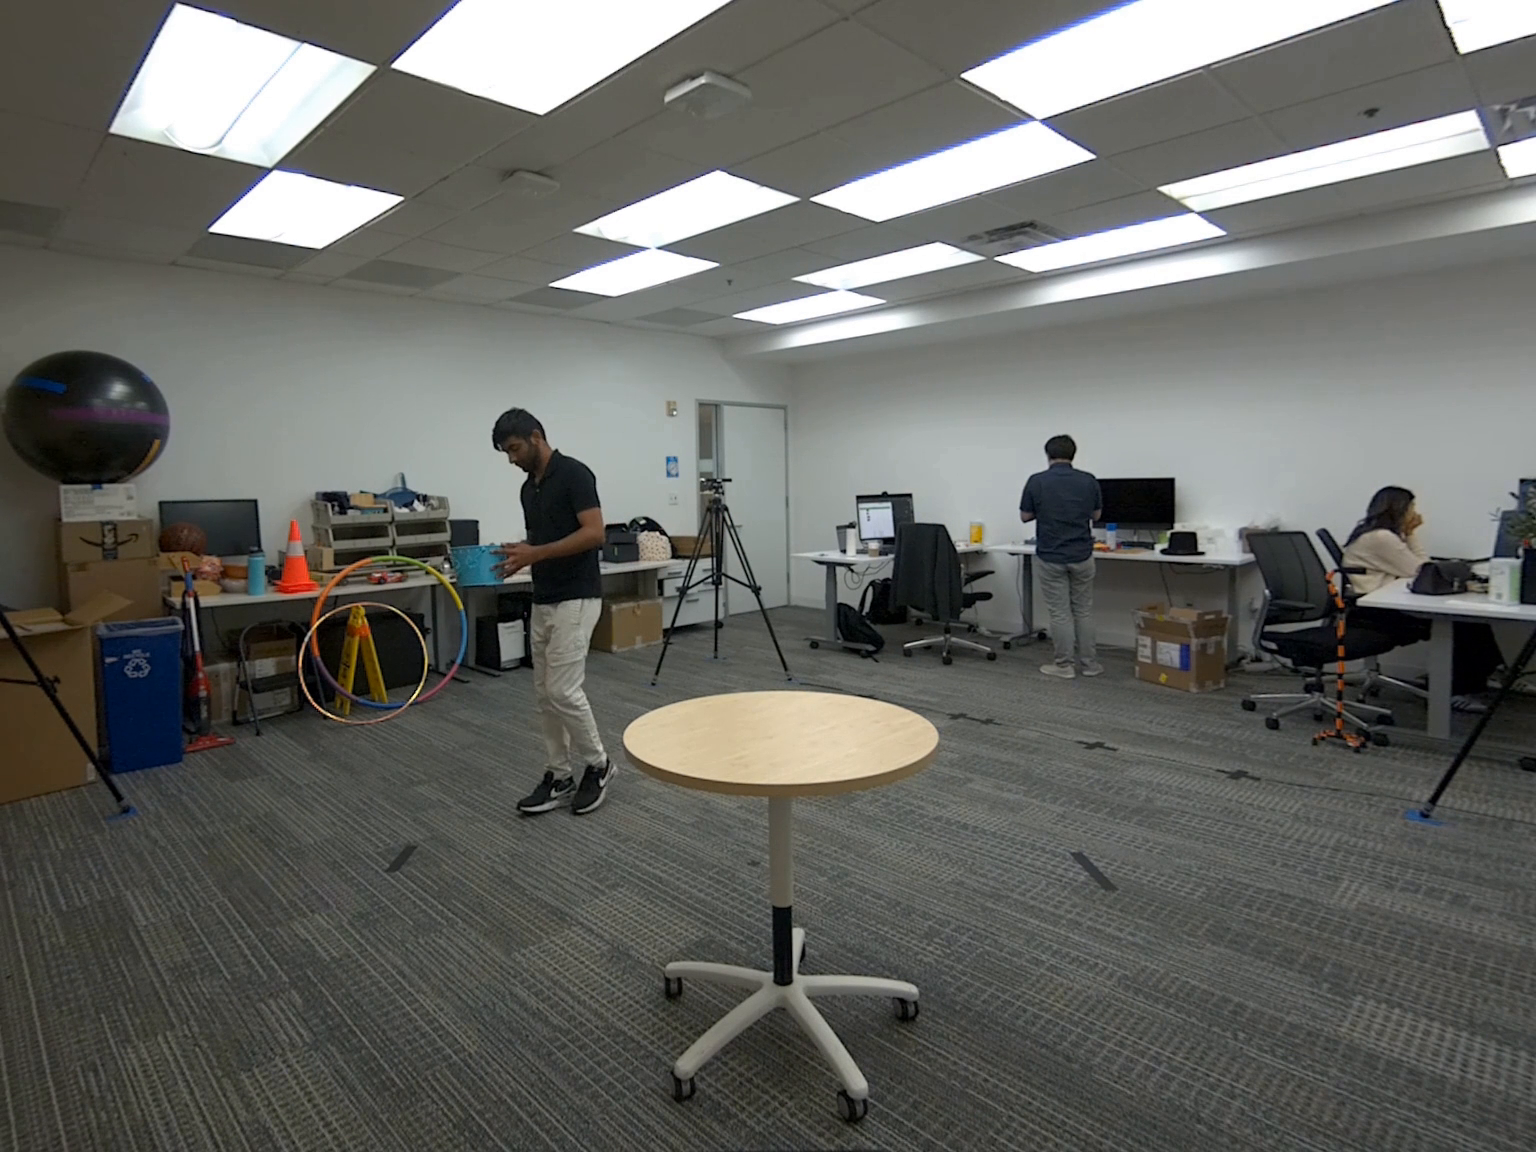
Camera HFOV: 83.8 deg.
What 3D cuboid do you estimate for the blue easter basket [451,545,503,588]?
[{"bbox_3d":[-1.182,-0.041,3.435,0.243,0.156,0.244,-1,2,-2],"label":"blue easter basket"}]
